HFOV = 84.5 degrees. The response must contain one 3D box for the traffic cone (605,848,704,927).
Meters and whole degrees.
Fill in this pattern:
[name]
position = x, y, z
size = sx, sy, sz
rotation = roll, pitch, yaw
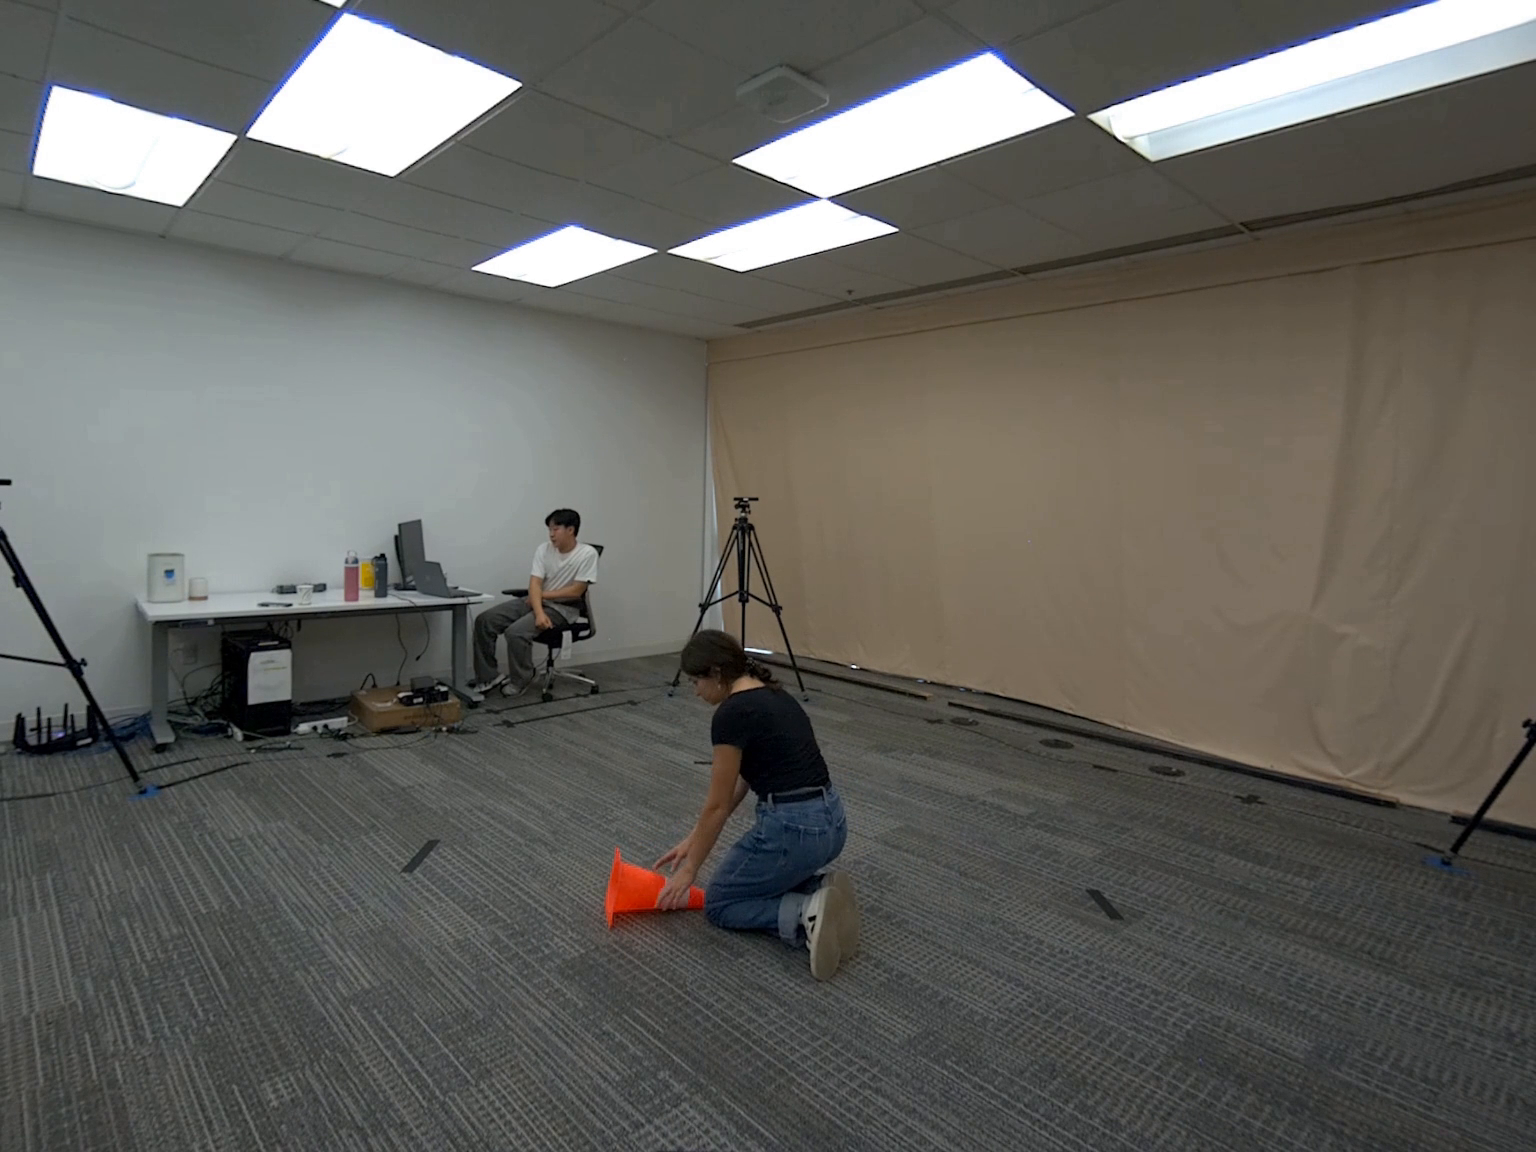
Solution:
[traffic cone]
position = -0.341, 1.076, 2.843
size = 0.380, 0.205, 0.205
rotation = 14, -1, -11
